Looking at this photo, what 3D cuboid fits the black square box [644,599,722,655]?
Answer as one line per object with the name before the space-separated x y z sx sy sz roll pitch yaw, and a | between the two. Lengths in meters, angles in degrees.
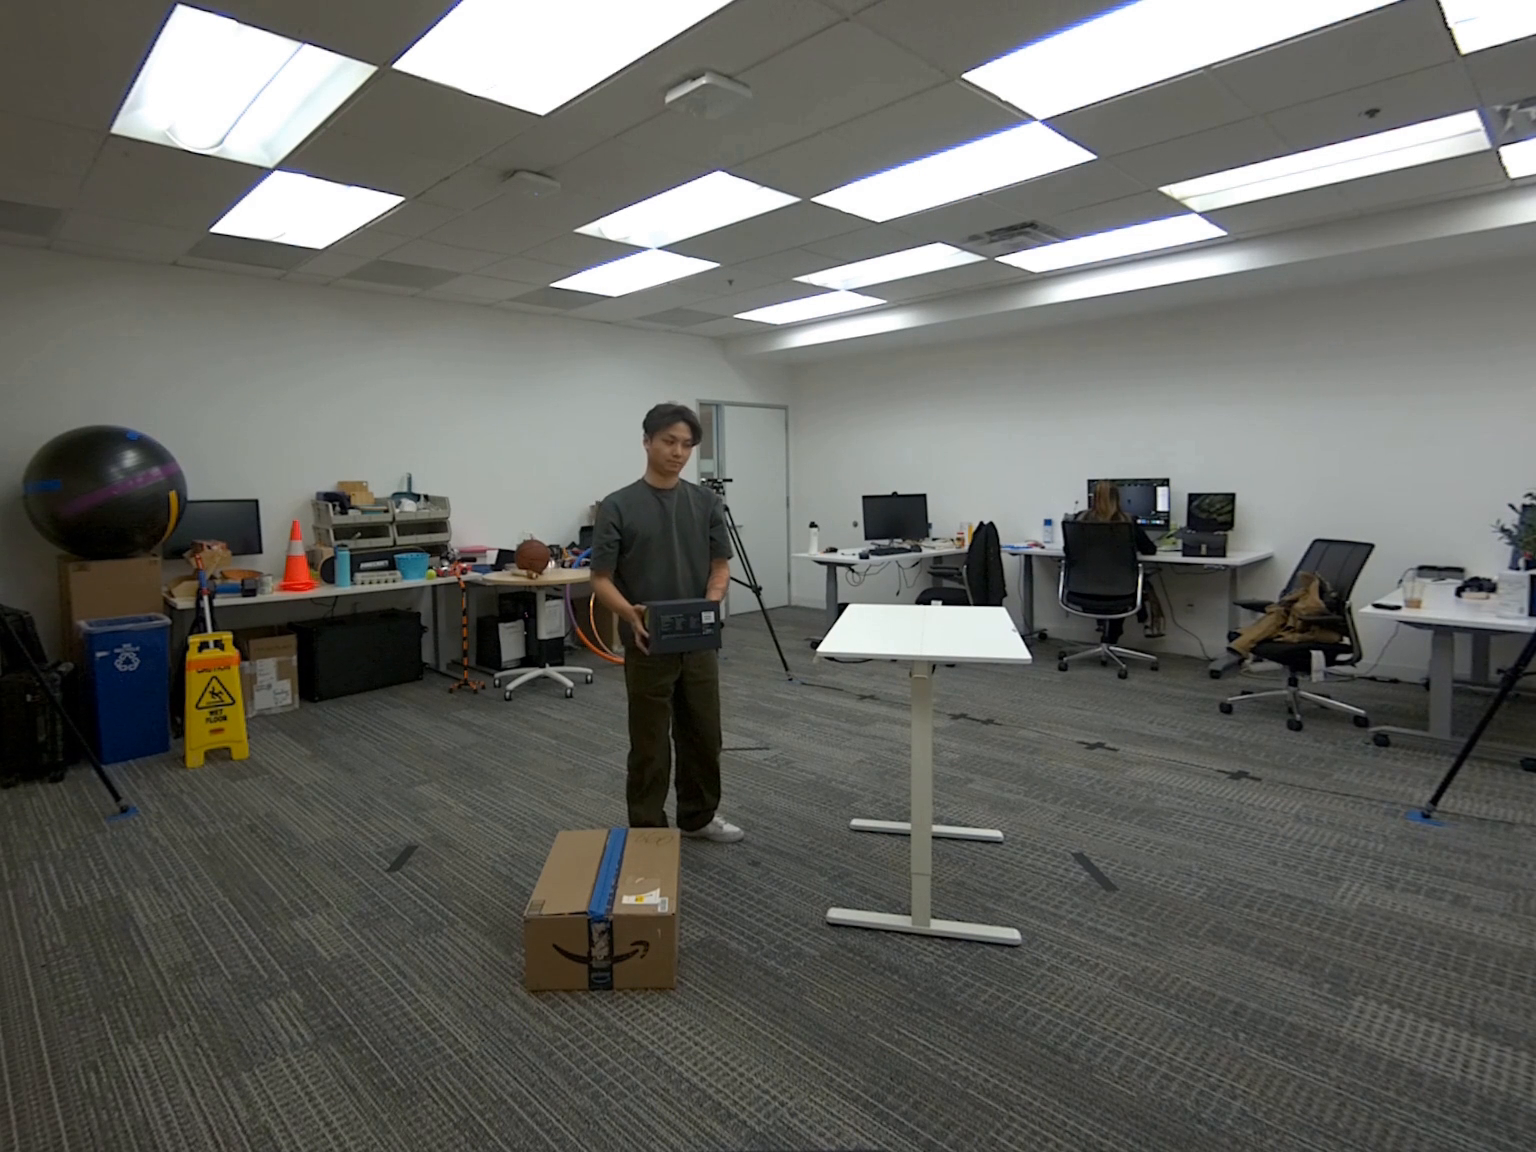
black square box | -0.293 0.164 2.794 0.214 0.156 0.231 -3 0 -18
